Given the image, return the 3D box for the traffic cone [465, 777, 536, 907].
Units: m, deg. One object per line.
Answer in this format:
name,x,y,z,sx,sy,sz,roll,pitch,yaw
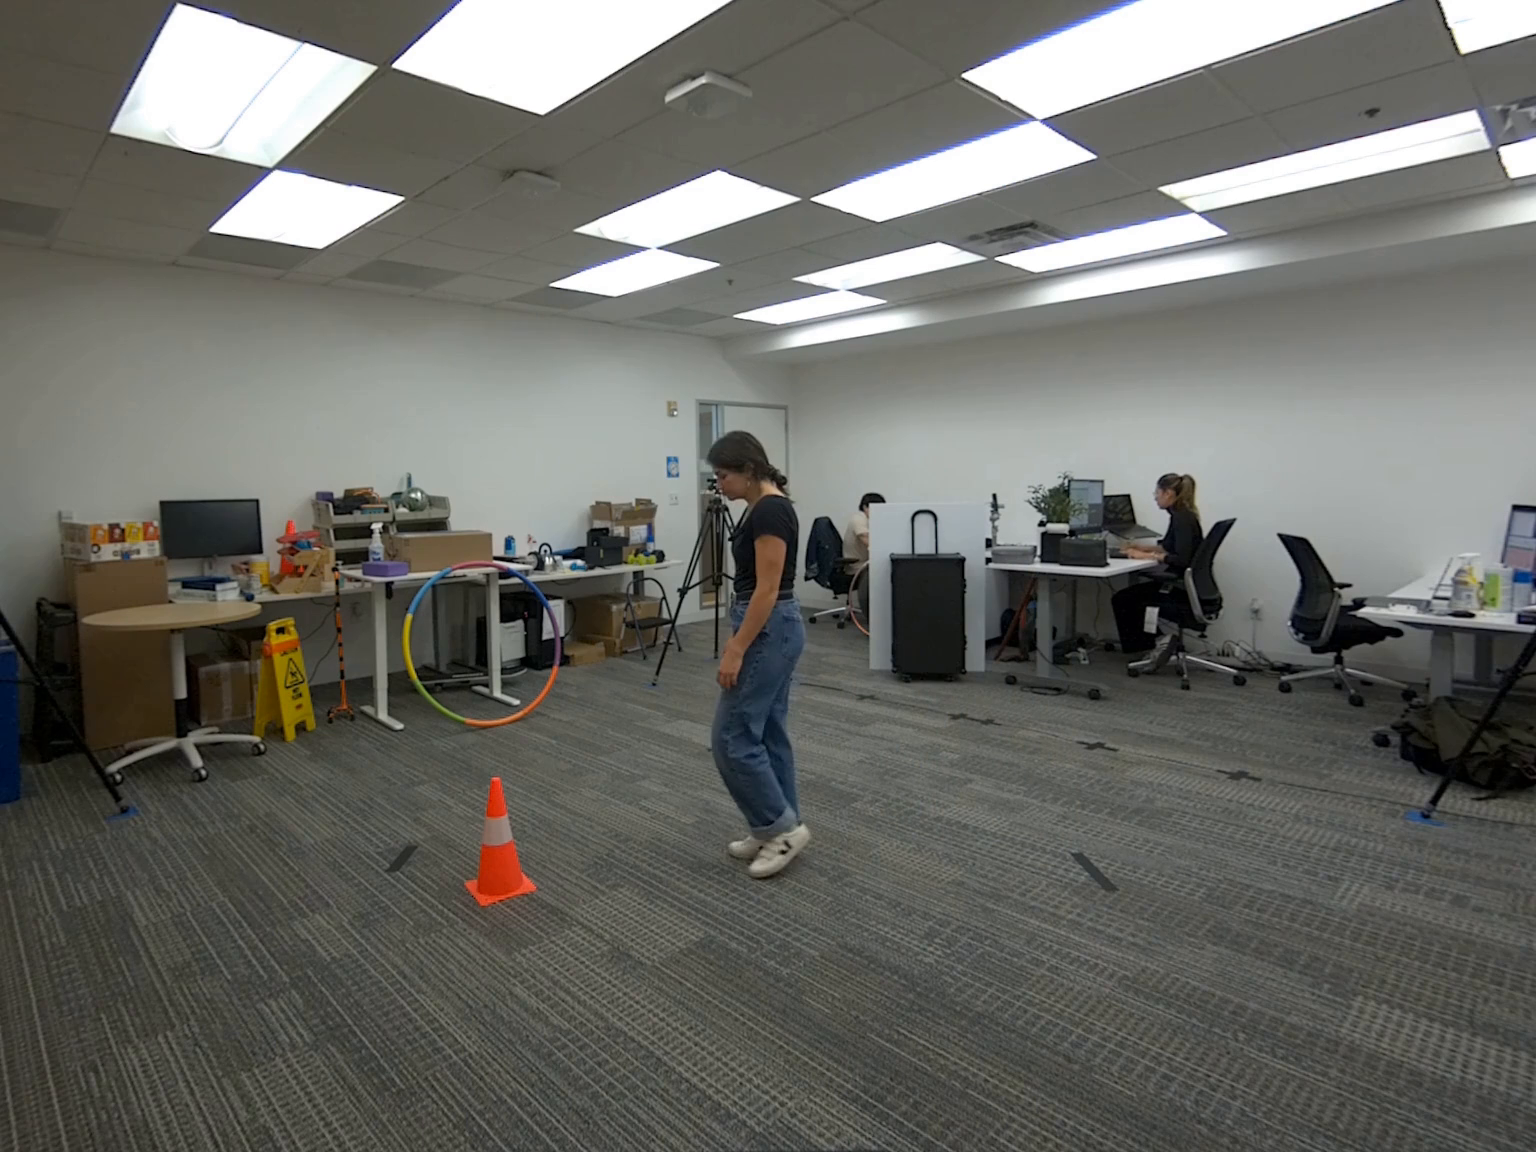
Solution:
traffic cone,-0.925,0.890,2.961,0.198,0.383,0.210,-3,3,-31
